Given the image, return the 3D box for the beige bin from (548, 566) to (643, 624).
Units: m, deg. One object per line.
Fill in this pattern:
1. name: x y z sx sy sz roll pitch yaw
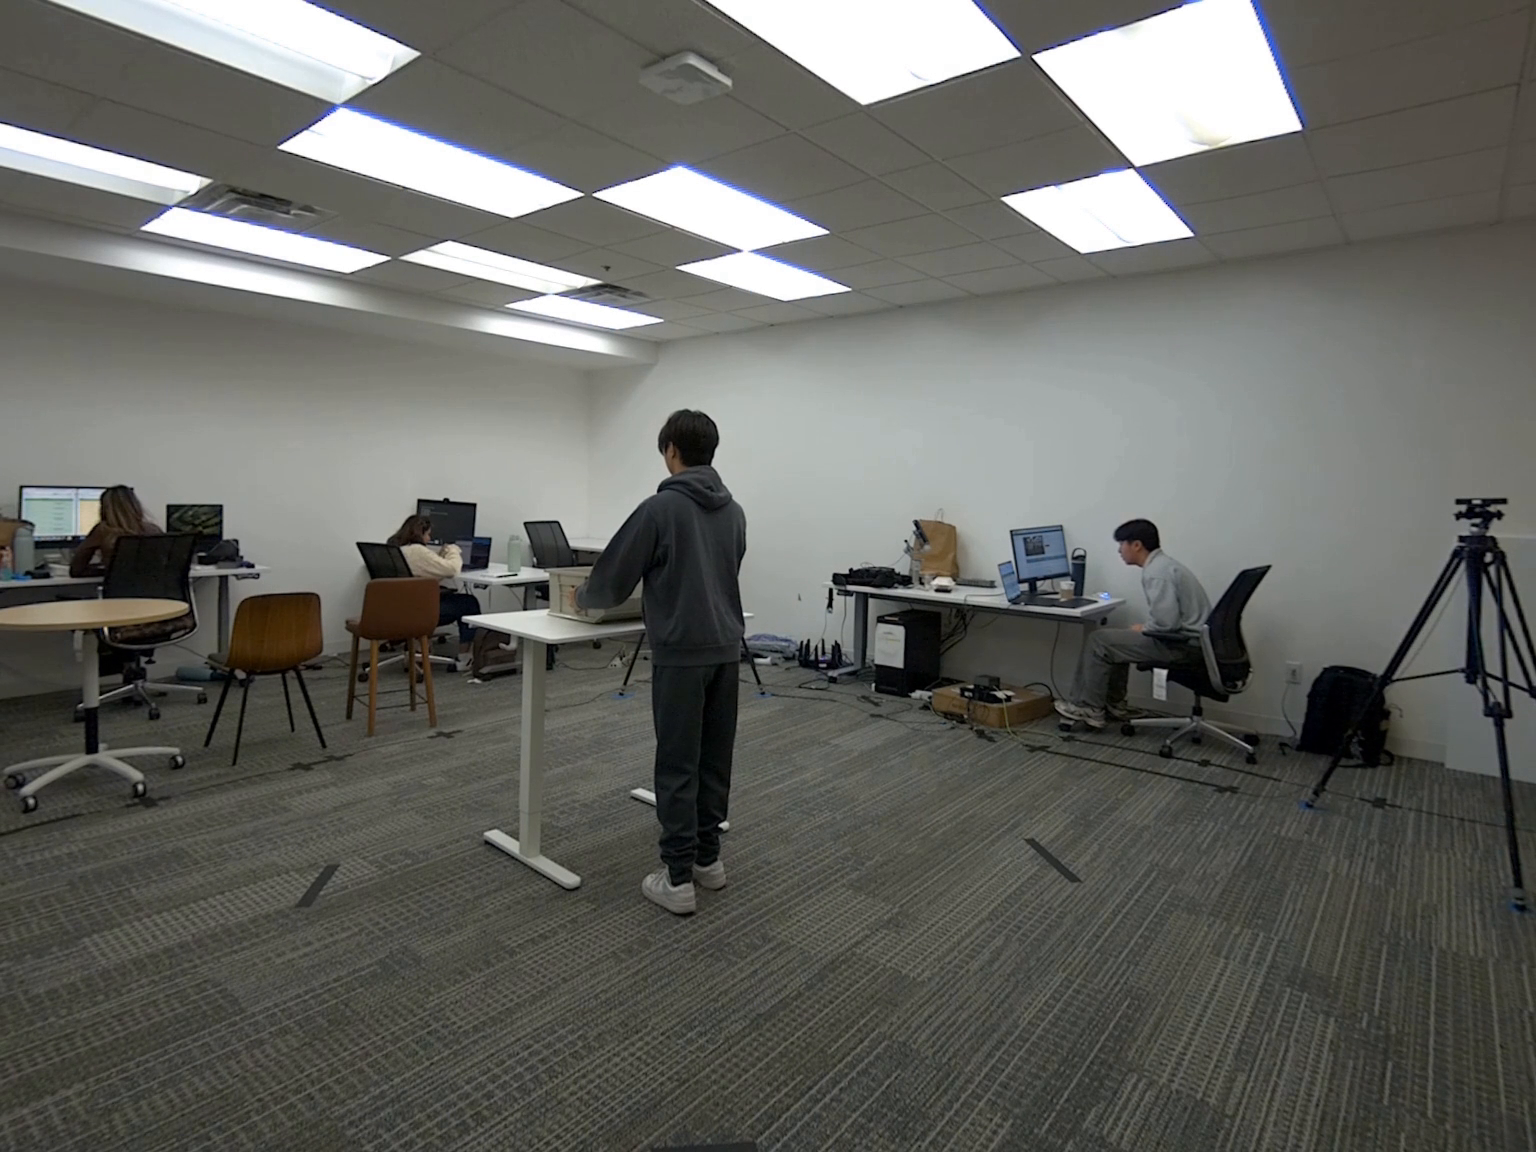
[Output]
1. beige bin: -0.620 0.069 3.360 0.390 0.188 0.409 5 6 44
